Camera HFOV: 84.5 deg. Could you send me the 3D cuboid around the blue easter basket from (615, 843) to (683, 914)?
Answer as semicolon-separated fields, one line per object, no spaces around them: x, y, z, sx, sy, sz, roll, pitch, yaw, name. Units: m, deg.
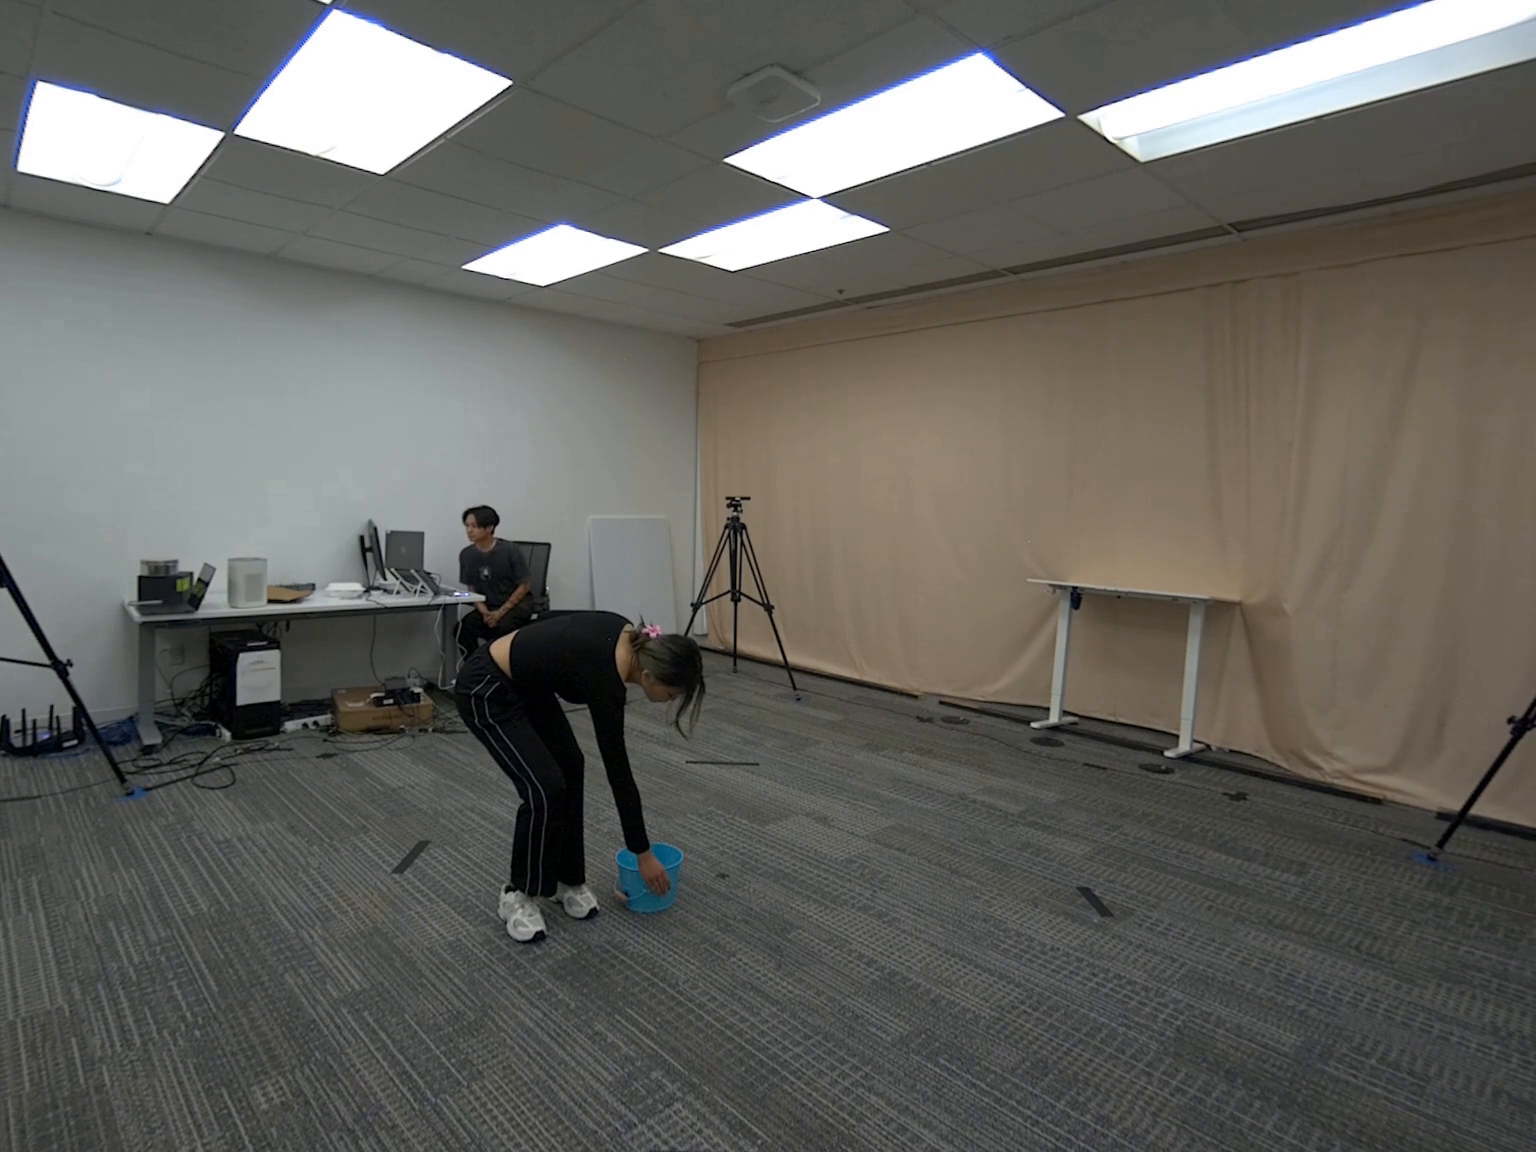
-0.424;1.041;2.905;0.243;0.155;0.244;1;5;-1;blue easter basket
